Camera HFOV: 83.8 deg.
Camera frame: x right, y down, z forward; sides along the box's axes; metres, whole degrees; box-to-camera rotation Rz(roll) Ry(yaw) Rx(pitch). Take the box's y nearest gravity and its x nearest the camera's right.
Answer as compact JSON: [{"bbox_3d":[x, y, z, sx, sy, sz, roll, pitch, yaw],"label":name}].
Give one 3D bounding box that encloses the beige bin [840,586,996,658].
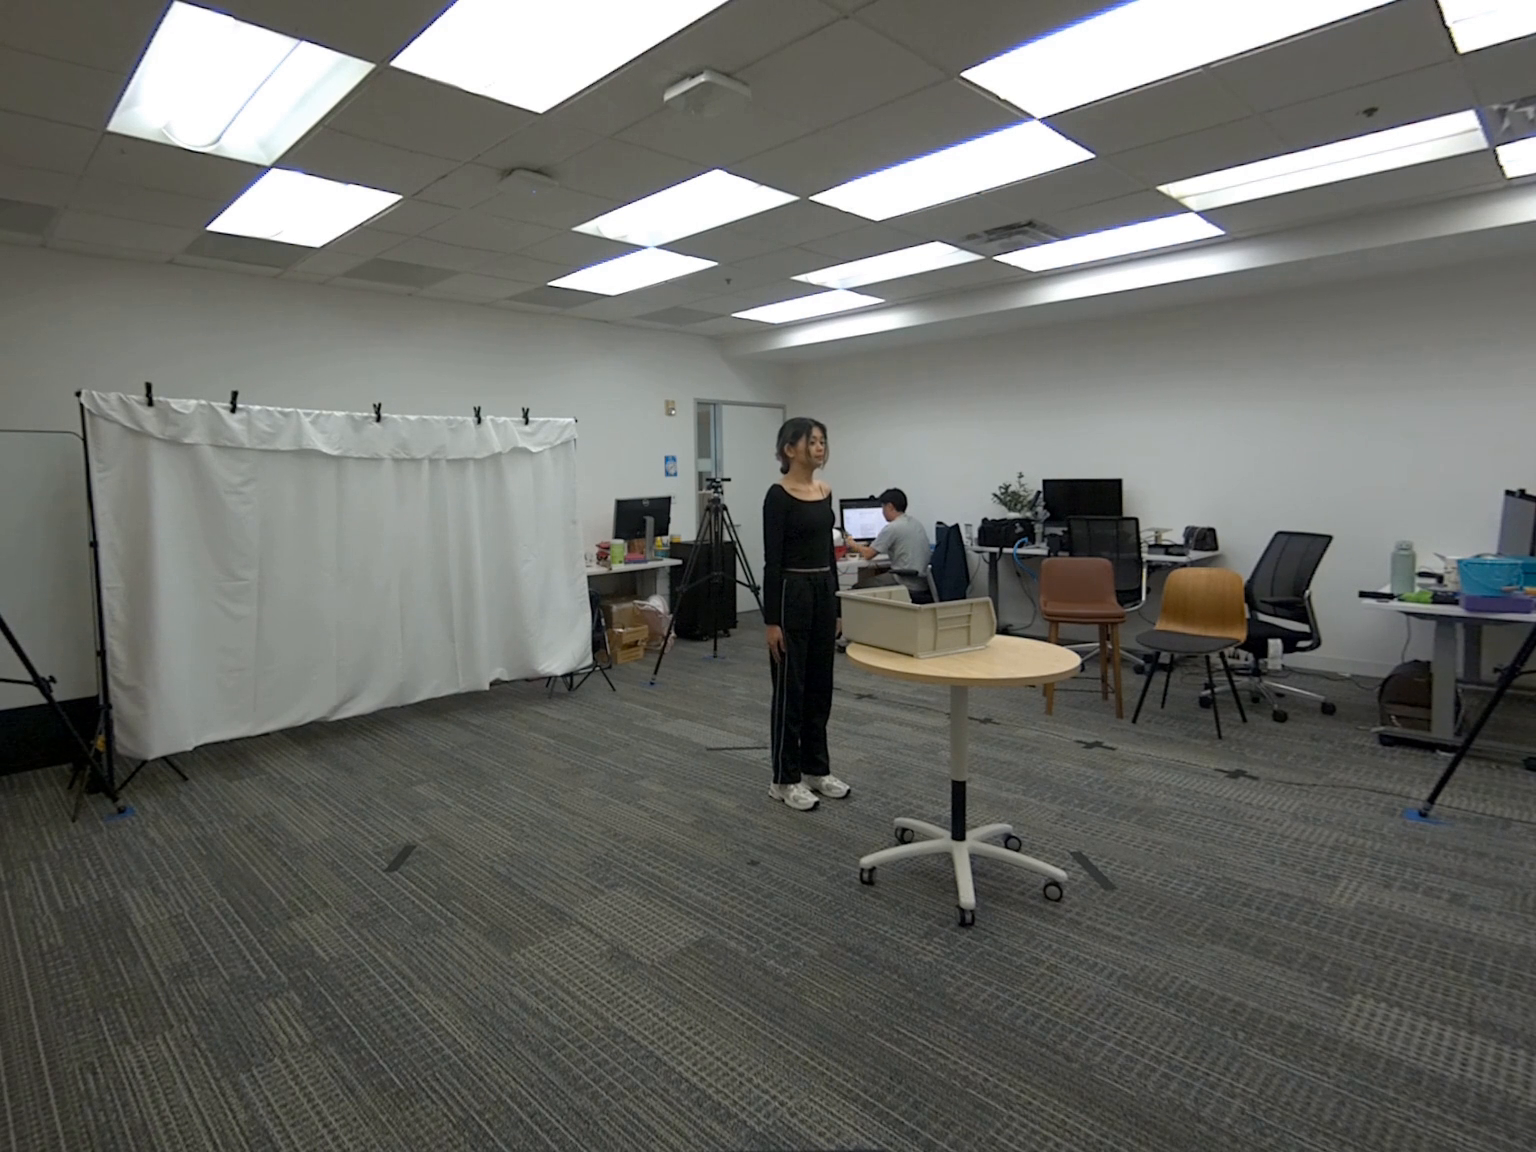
[{"bbox_3d":[0.525,0.153,3.066,0.368,0.188,0.435,-6,9,-33],"label":"beige bin"}]
